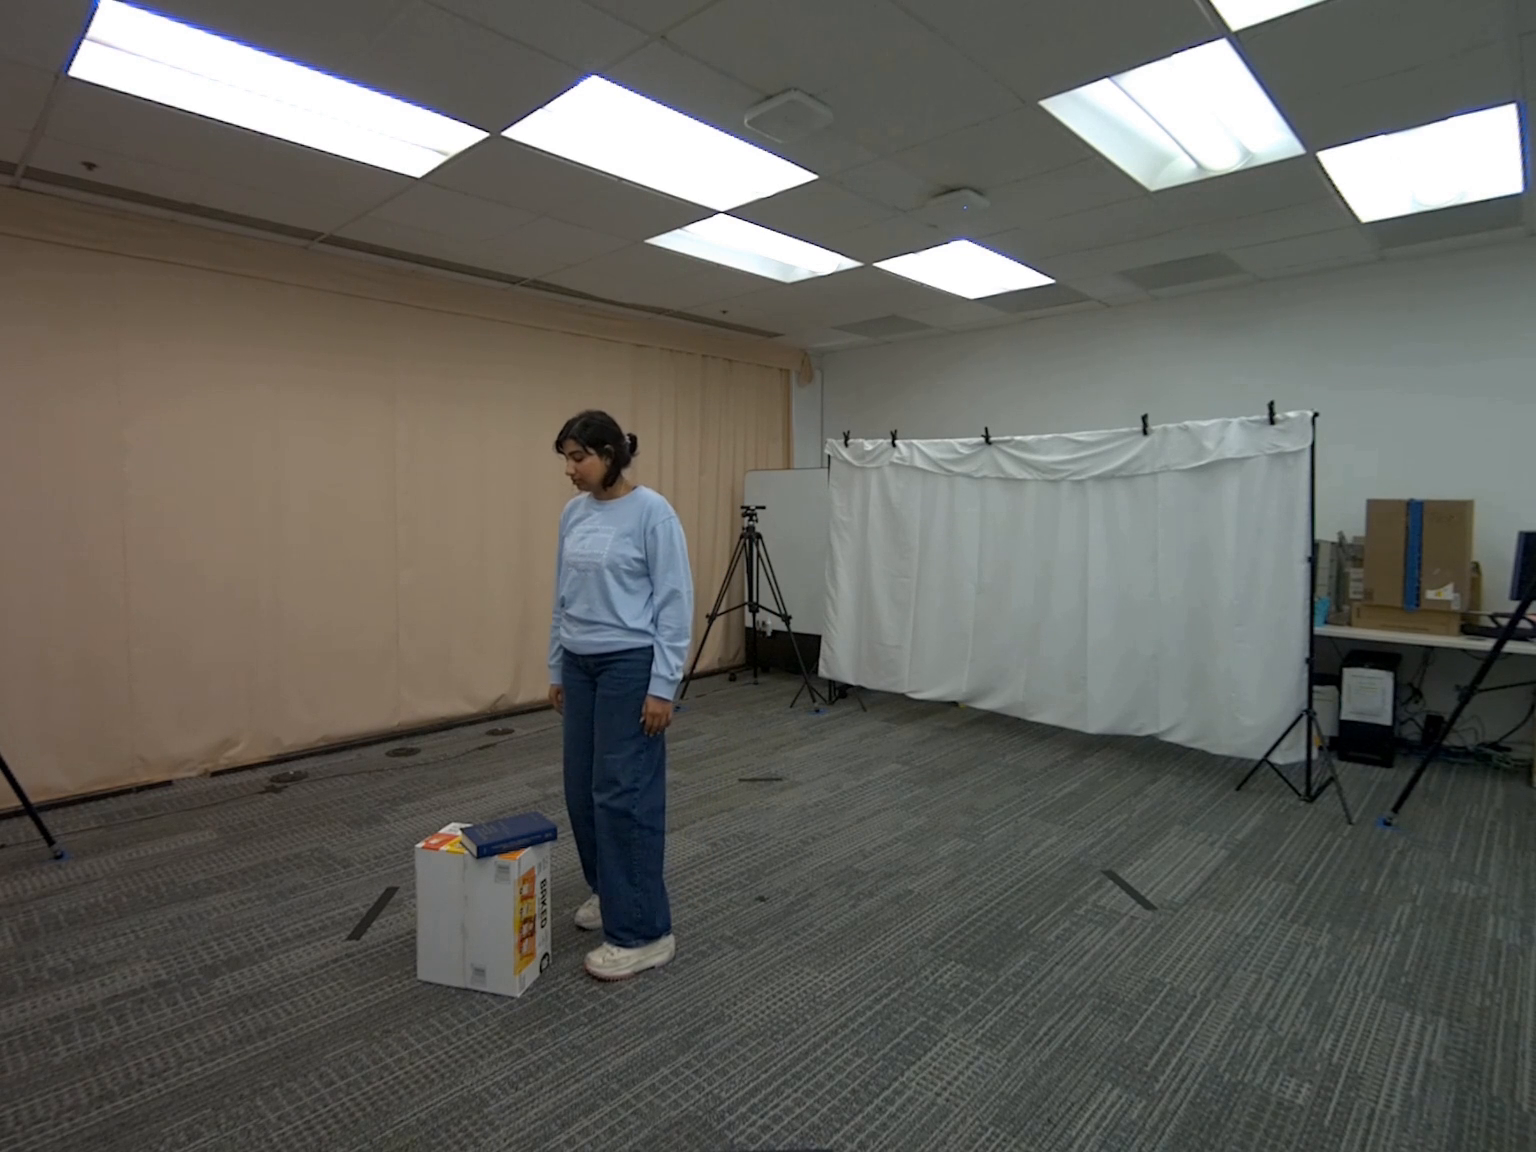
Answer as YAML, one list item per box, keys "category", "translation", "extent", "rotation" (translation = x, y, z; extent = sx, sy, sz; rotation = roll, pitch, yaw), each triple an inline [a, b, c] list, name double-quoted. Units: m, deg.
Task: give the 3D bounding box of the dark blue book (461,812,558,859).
- category: "dark blue book"
  translation: [-0.770, 0.769, 2.483]
  extent: [0.238, 0.045, 0.168]
  rotation: [-4, 4, -34]
